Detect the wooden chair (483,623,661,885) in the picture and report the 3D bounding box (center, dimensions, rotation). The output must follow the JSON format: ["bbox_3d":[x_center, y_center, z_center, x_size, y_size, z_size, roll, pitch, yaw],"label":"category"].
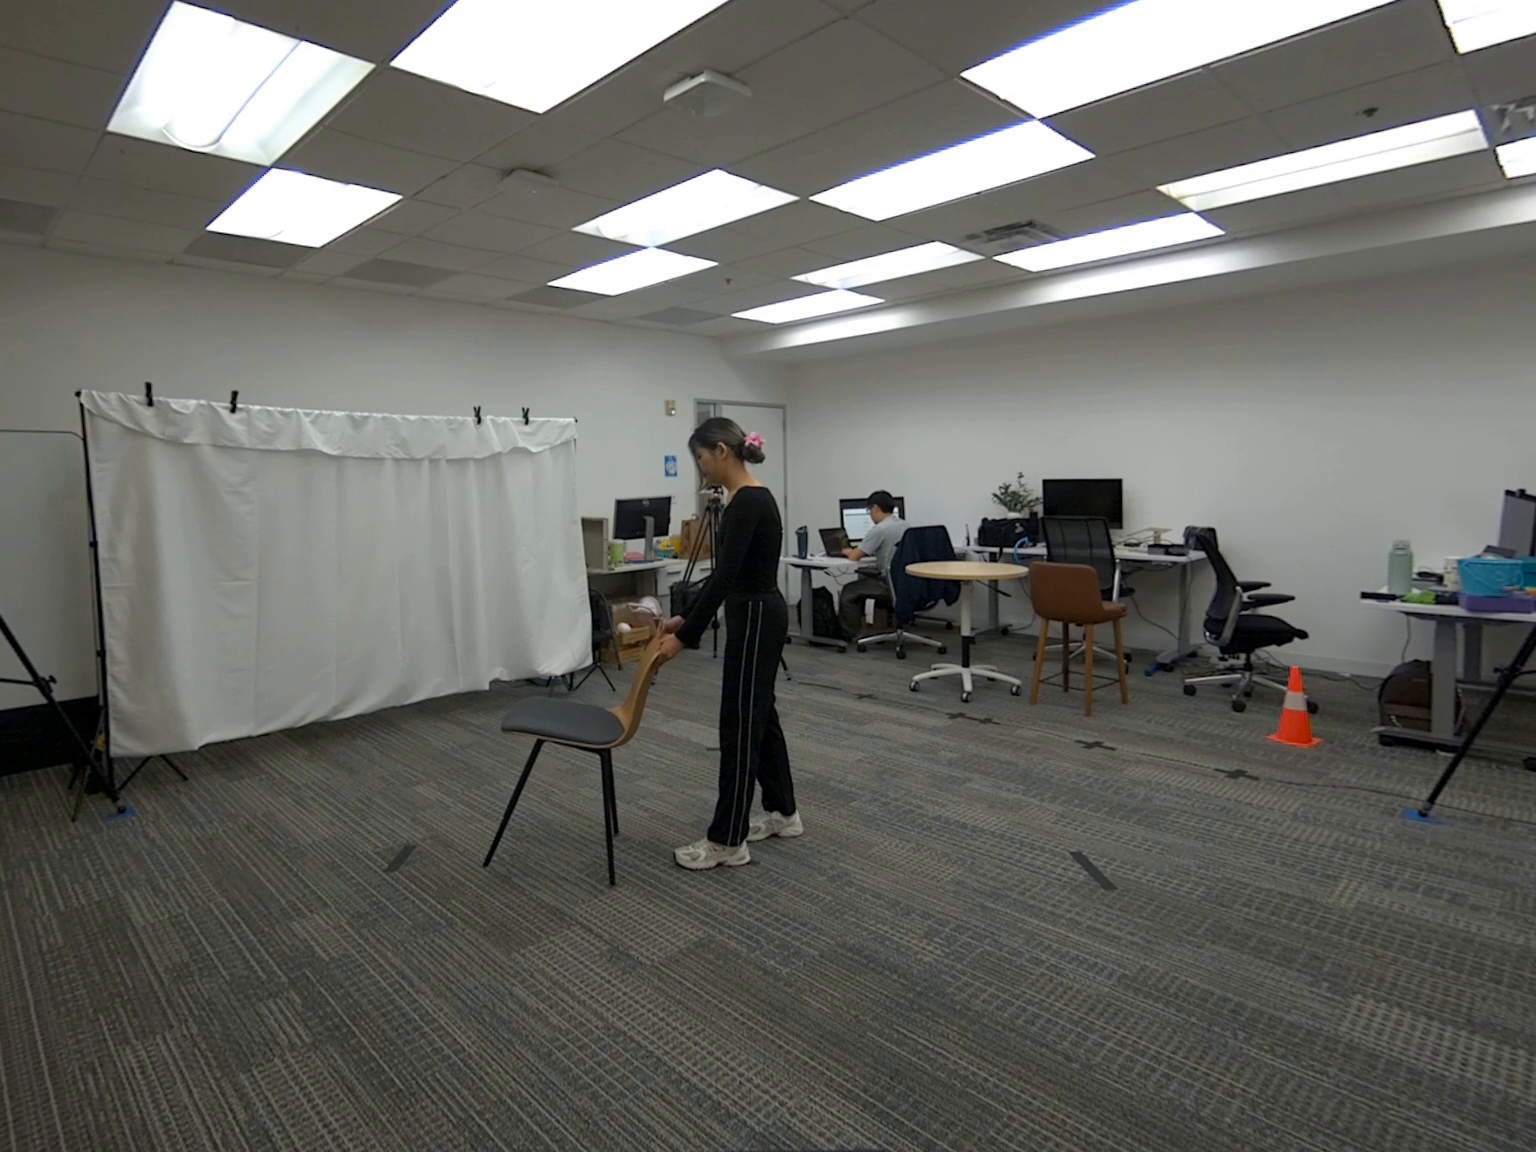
[{"bbox_3d":[-0.705,0.585,3.117,0.518,0.876,0.484,15,3,-9],"label":"wooden chair"}]
